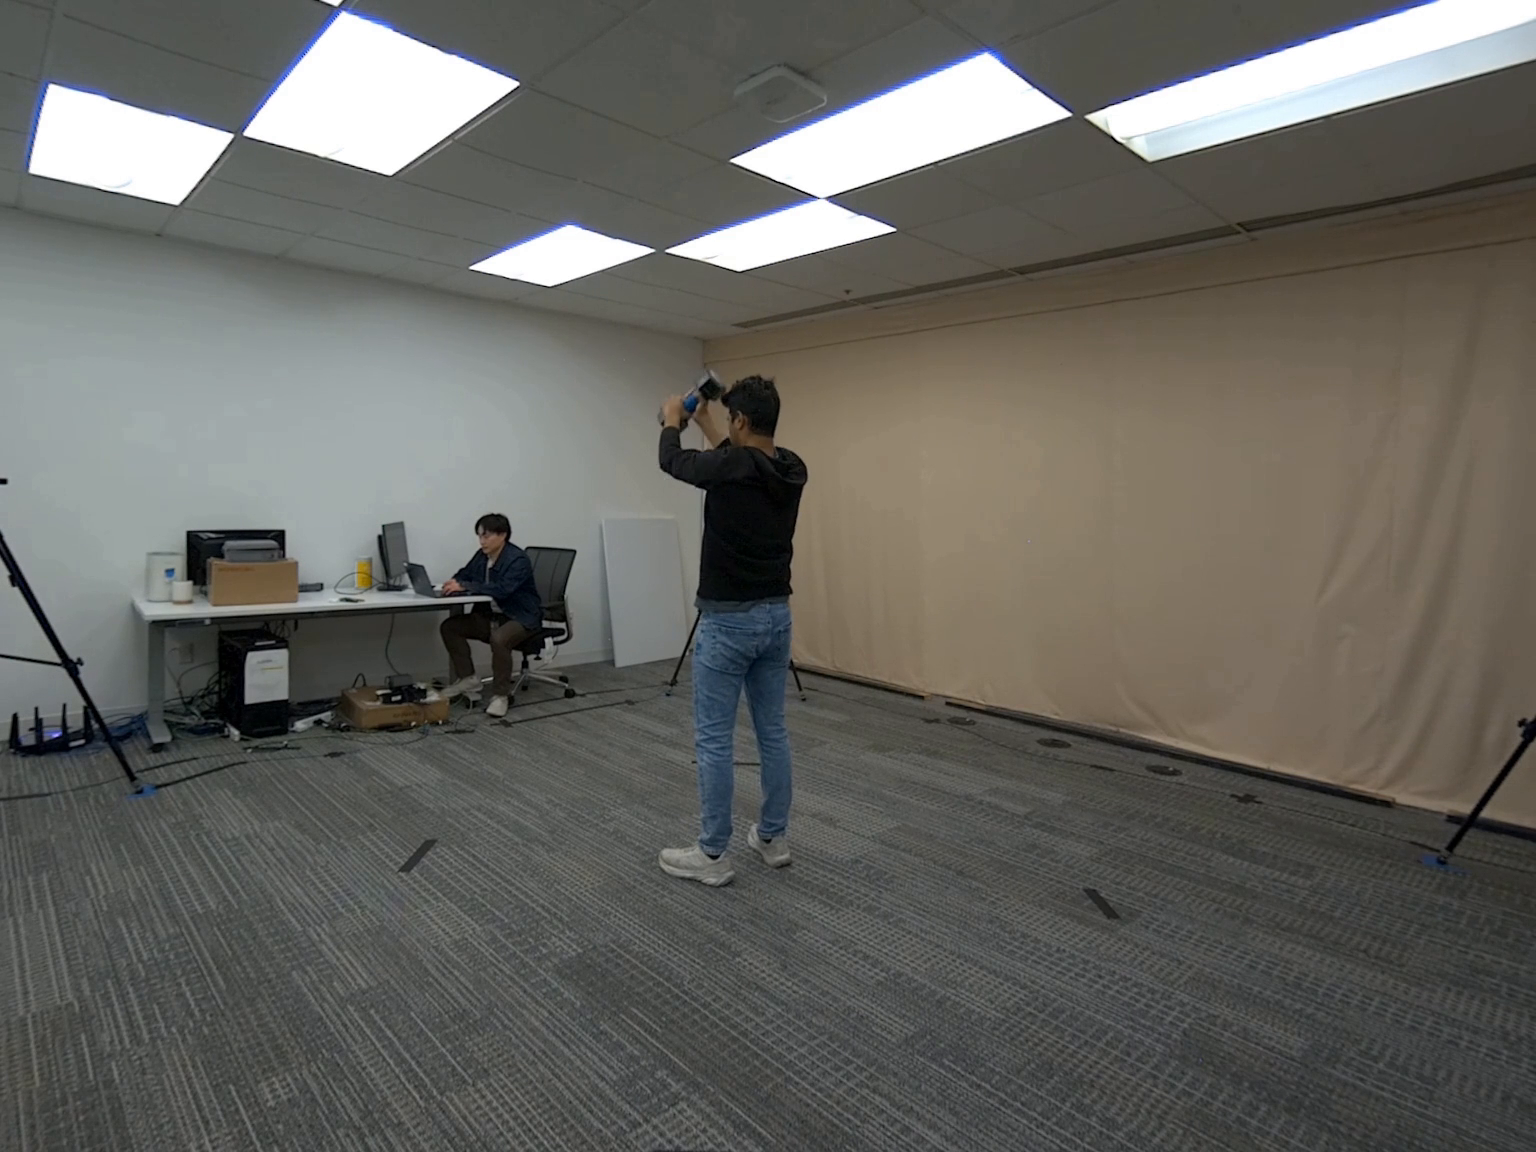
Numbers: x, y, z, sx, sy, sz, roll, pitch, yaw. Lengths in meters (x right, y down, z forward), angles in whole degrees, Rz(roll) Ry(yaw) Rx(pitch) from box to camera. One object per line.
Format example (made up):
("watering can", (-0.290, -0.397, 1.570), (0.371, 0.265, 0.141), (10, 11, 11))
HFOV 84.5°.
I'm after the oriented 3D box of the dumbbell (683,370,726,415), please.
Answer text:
("dumbbell", (-0.309, -0.690, 3.390), (0.294, 0.110, 0.121), (-39, -13, 17))
